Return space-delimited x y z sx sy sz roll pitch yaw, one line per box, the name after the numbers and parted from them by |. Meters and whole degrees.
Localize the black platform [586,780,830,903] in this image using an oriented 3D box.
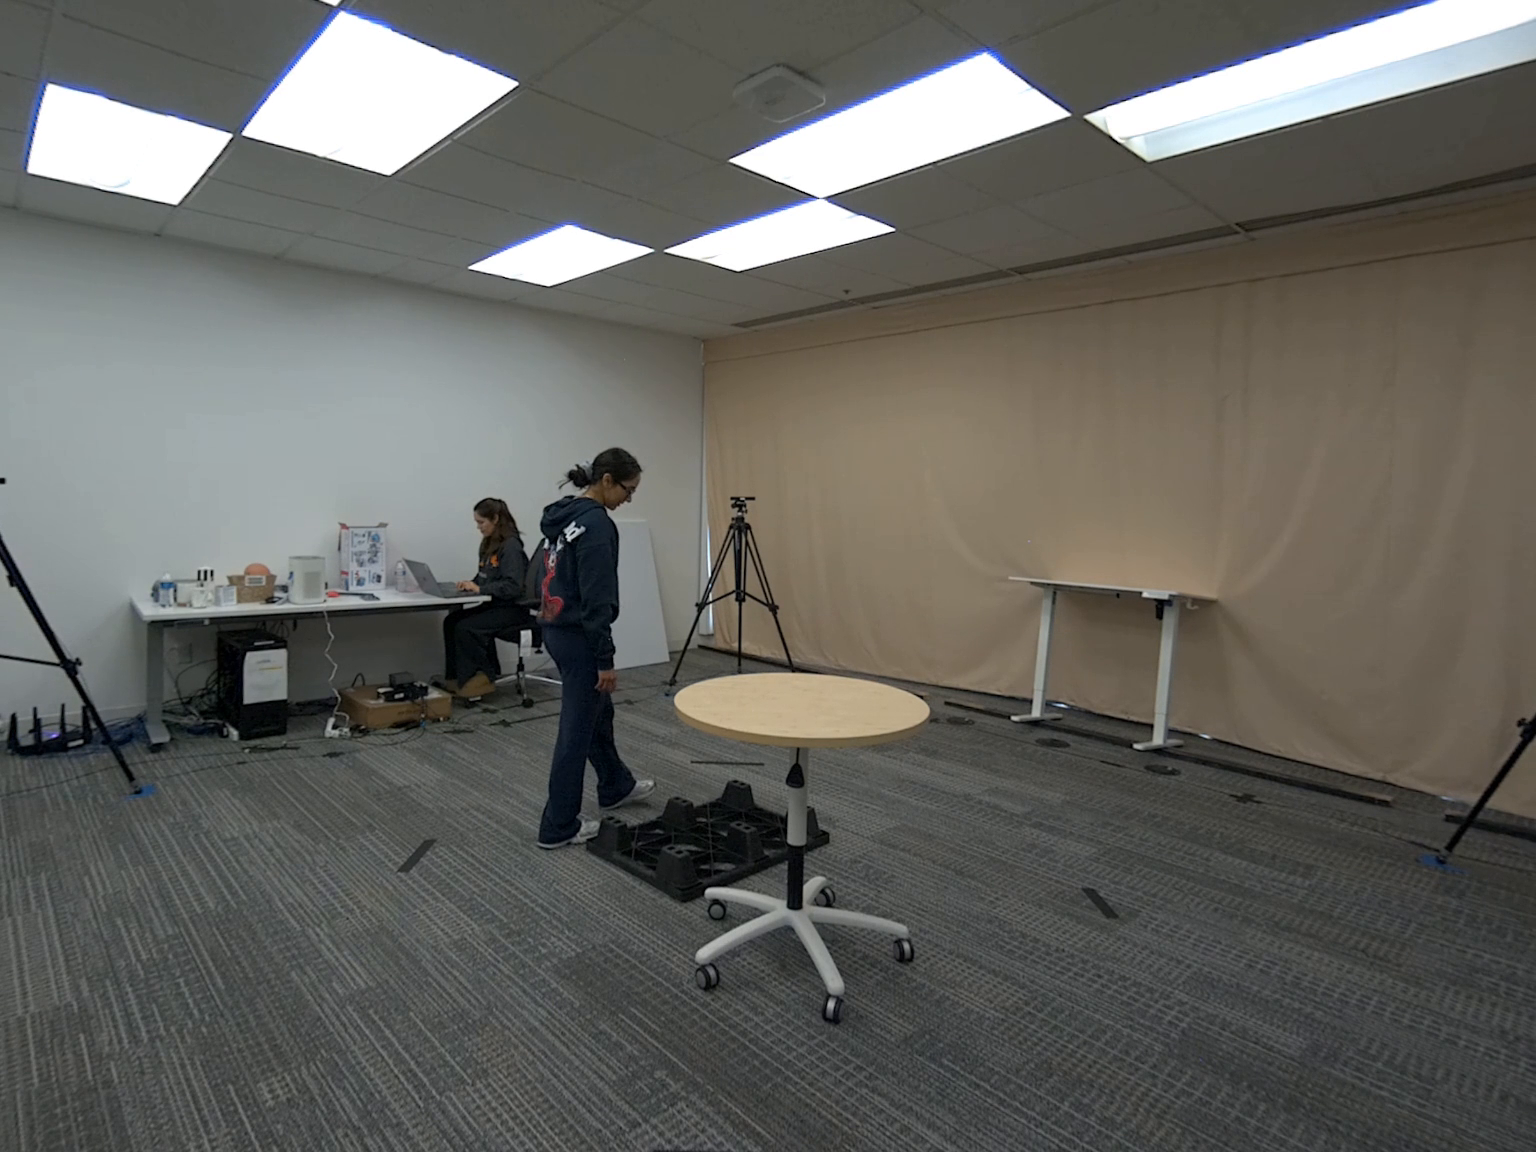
-0.238 1.018 3.359 0.621 0.143 0.787 6 7 44 | black platform
